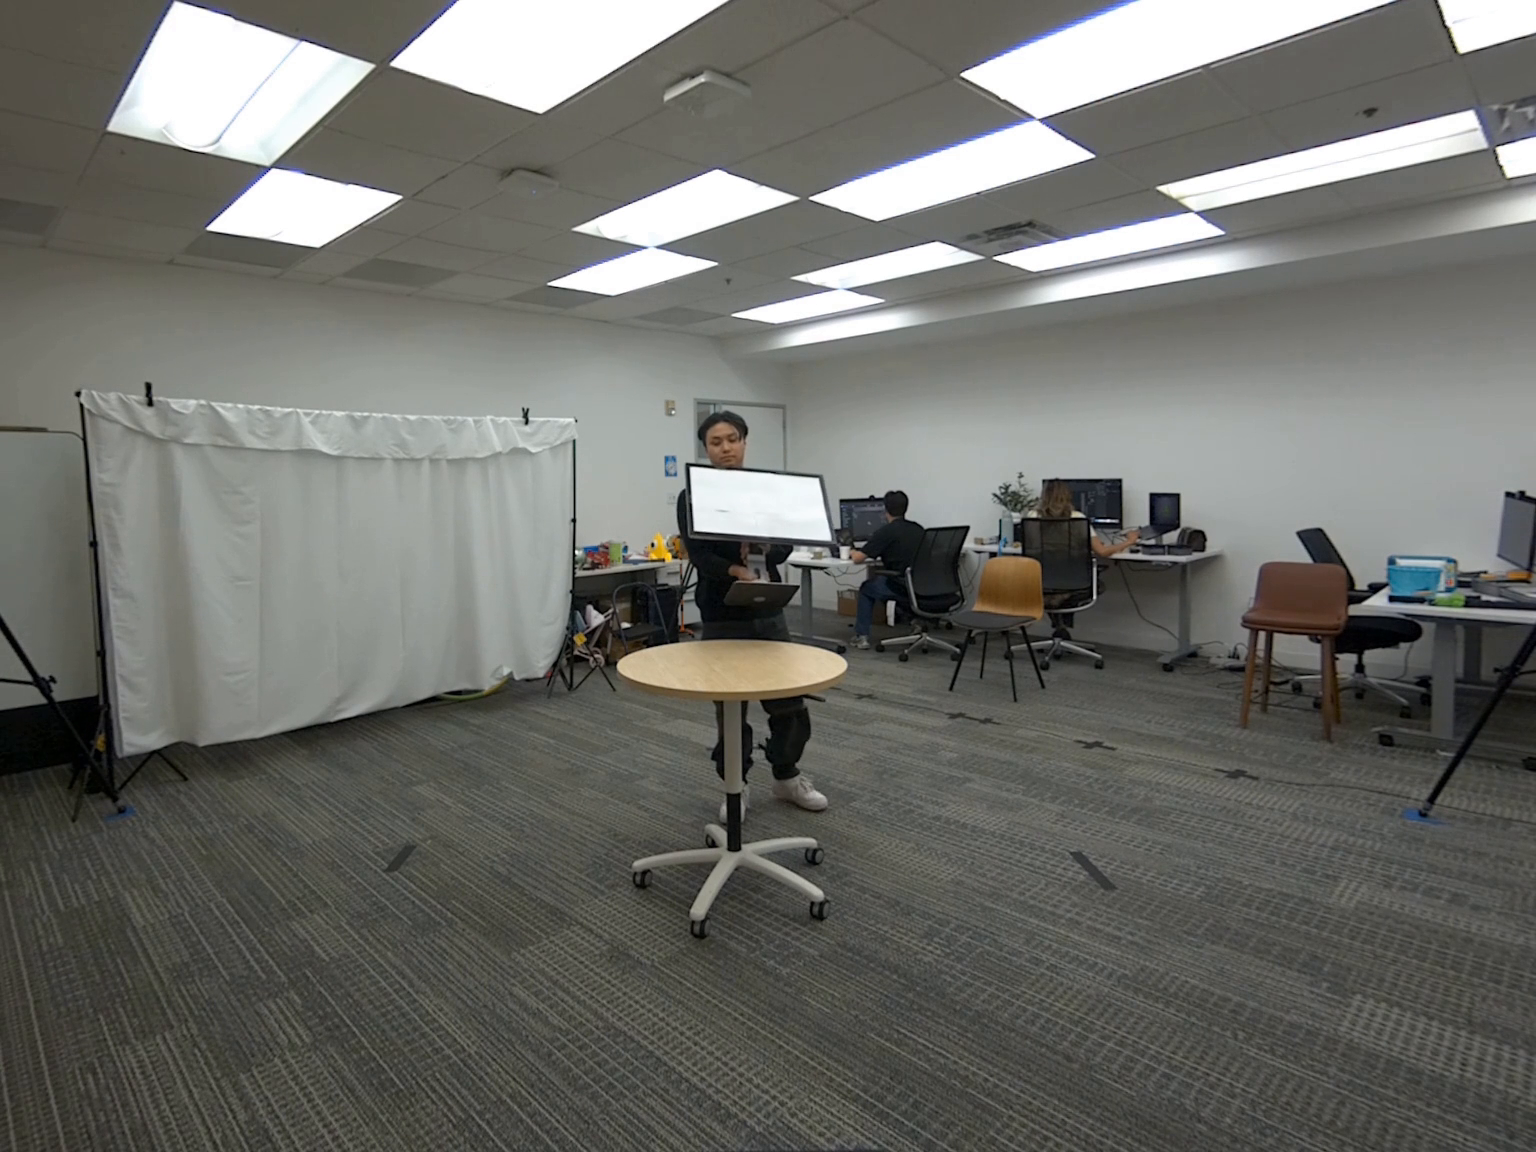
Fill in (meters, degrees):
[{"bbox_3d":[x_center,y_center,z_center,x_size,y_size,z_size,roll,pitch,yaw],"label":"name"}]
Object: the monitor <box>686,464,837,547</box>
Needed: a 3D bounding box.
[{"bbox_3d":[-0.046,-0.172,3.243,0.532,0.534,0.185,4,-27,-13],"label":"monitor"}]
